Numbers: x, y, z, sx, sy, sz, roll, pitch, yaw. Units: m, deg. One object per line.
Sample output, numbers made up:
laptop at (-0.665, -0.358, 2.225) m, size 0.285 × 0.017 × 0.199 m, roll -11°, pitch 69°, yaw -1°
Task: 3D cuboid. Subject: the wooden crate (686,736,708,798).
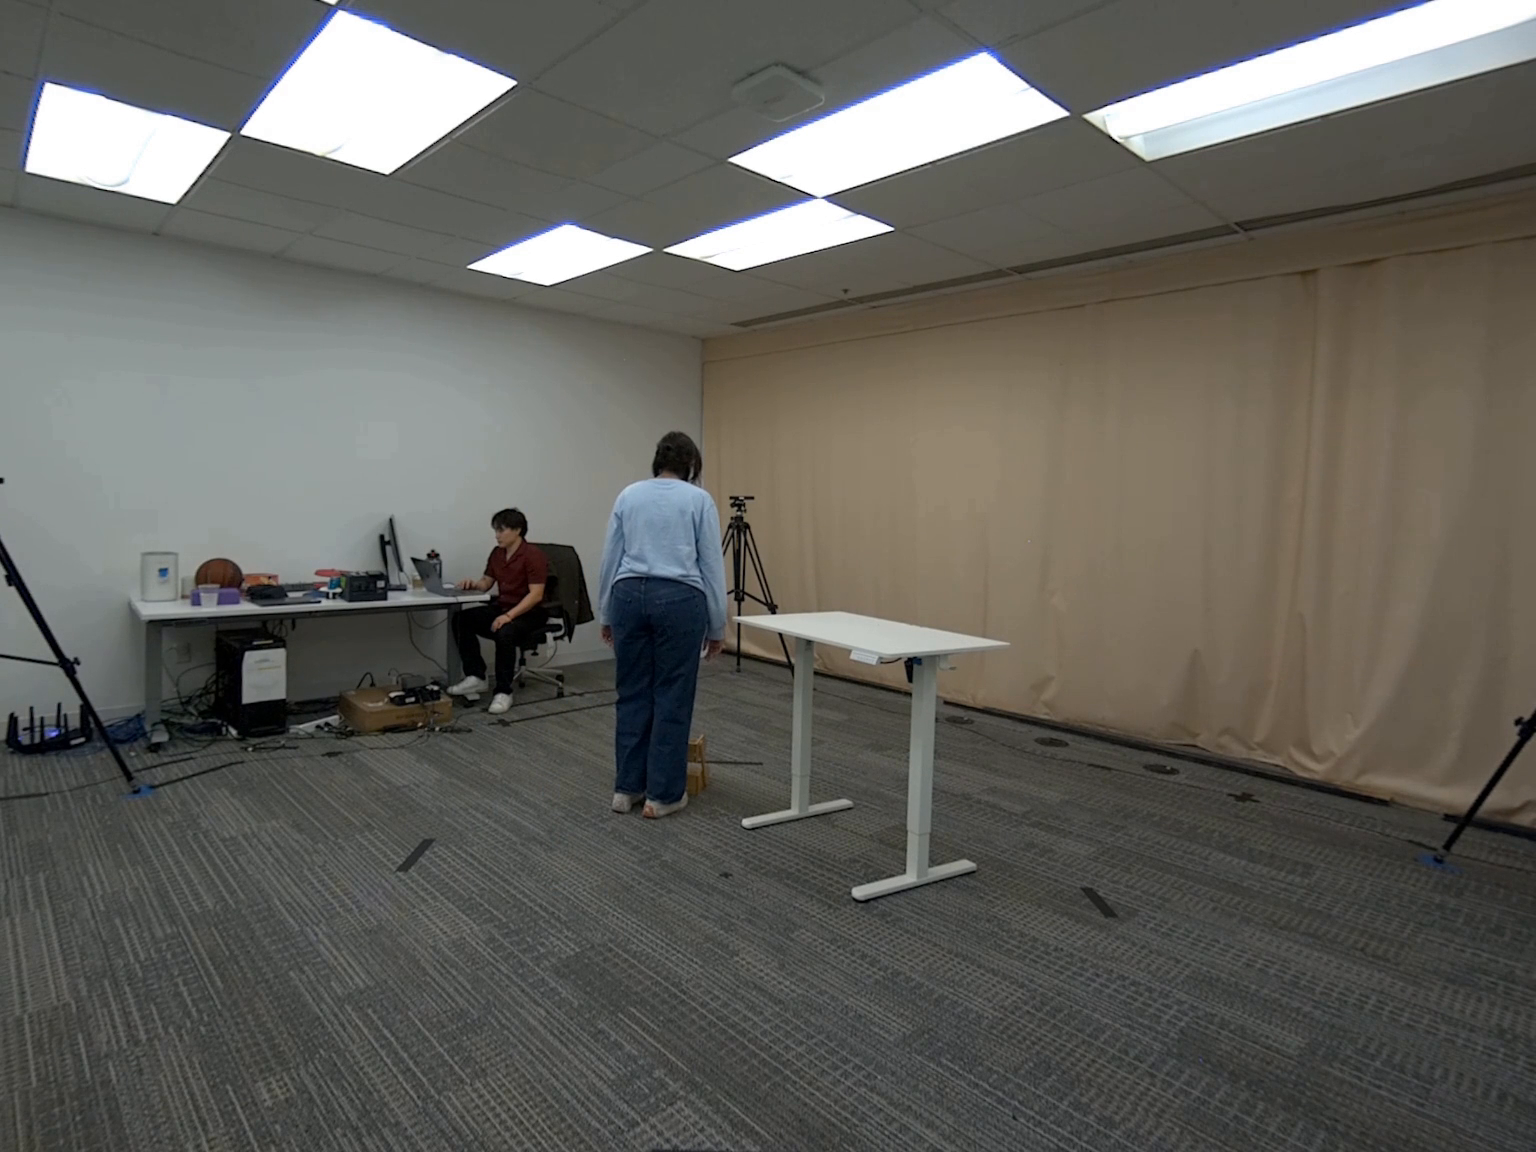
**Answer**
wooden crate at (-0.469, 0.883, 4.075) m, size 0.327 × 0.272 × 0.300 m, roll 2°, pitch 5°, yaw 10°
